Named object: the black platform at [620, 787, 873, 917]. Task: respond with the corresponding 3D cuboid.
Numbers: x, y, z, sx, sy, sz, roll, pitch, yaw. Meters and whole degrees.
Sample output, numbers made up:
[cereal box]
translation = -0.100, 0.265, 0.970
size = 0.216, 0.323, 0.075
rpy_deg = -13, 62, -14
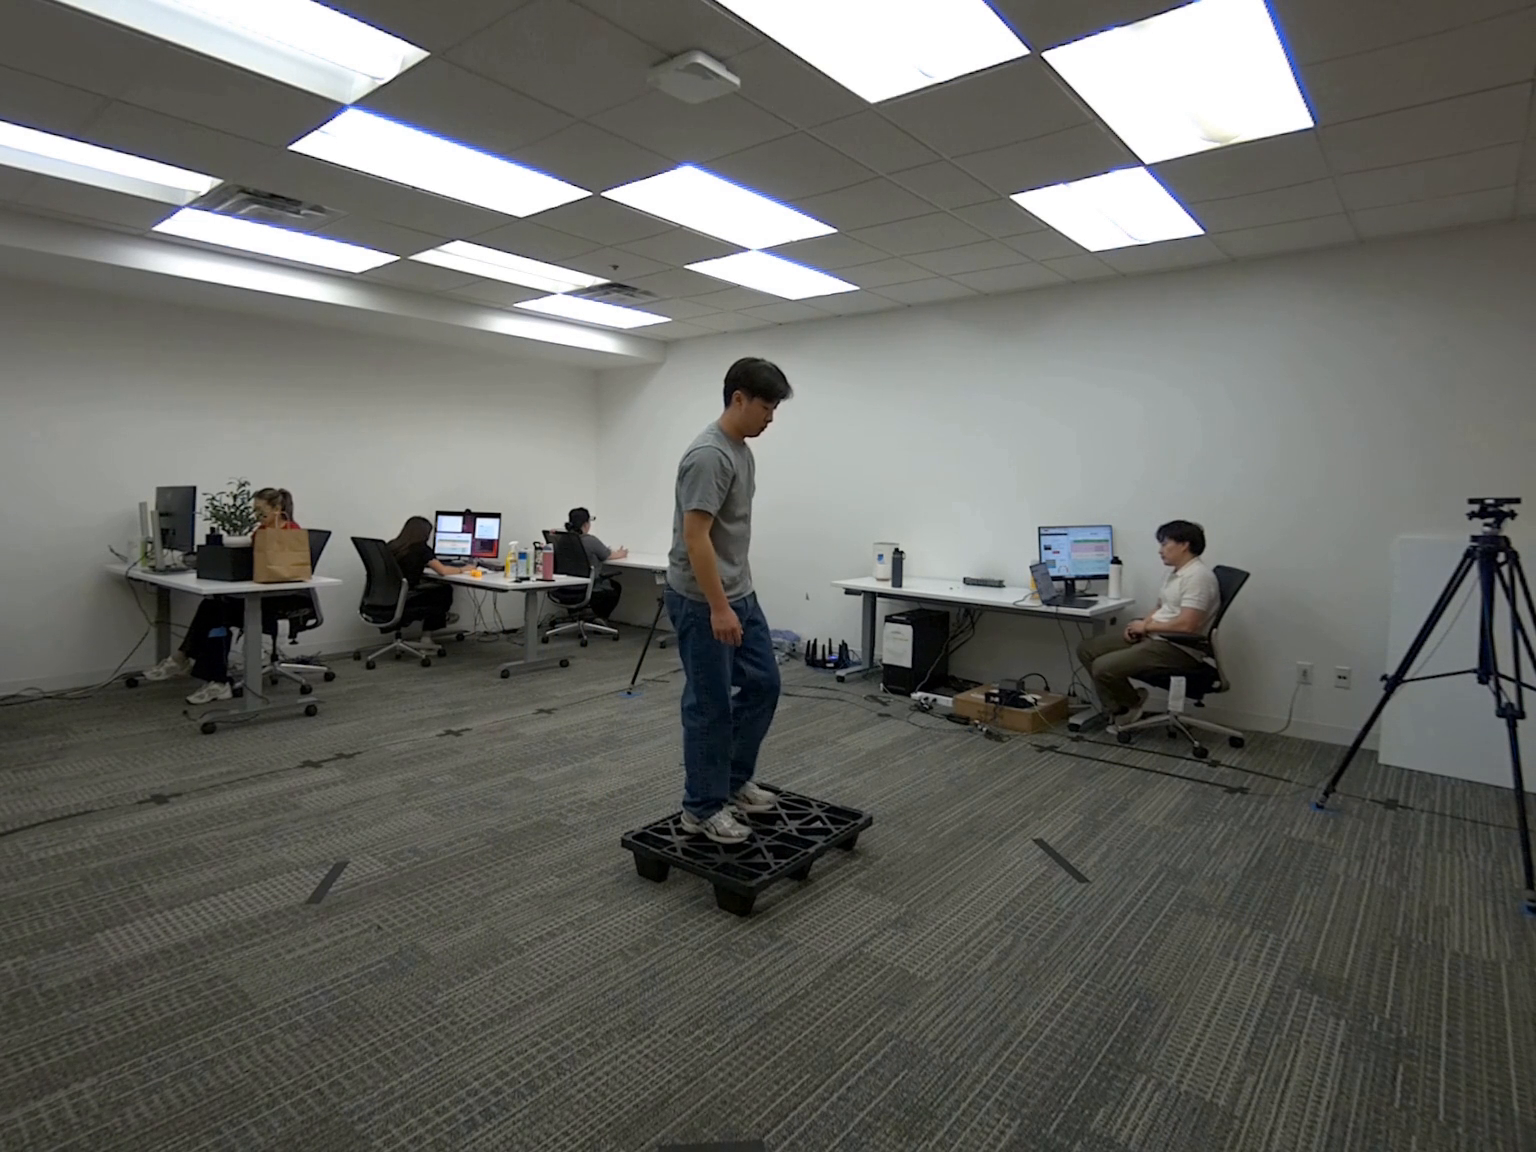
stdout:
[black platform]
translation = -0.066, 0.995, 3.177
size = 0.625, 0.143, 0.783
rpy_deg = 6, 7, 37
